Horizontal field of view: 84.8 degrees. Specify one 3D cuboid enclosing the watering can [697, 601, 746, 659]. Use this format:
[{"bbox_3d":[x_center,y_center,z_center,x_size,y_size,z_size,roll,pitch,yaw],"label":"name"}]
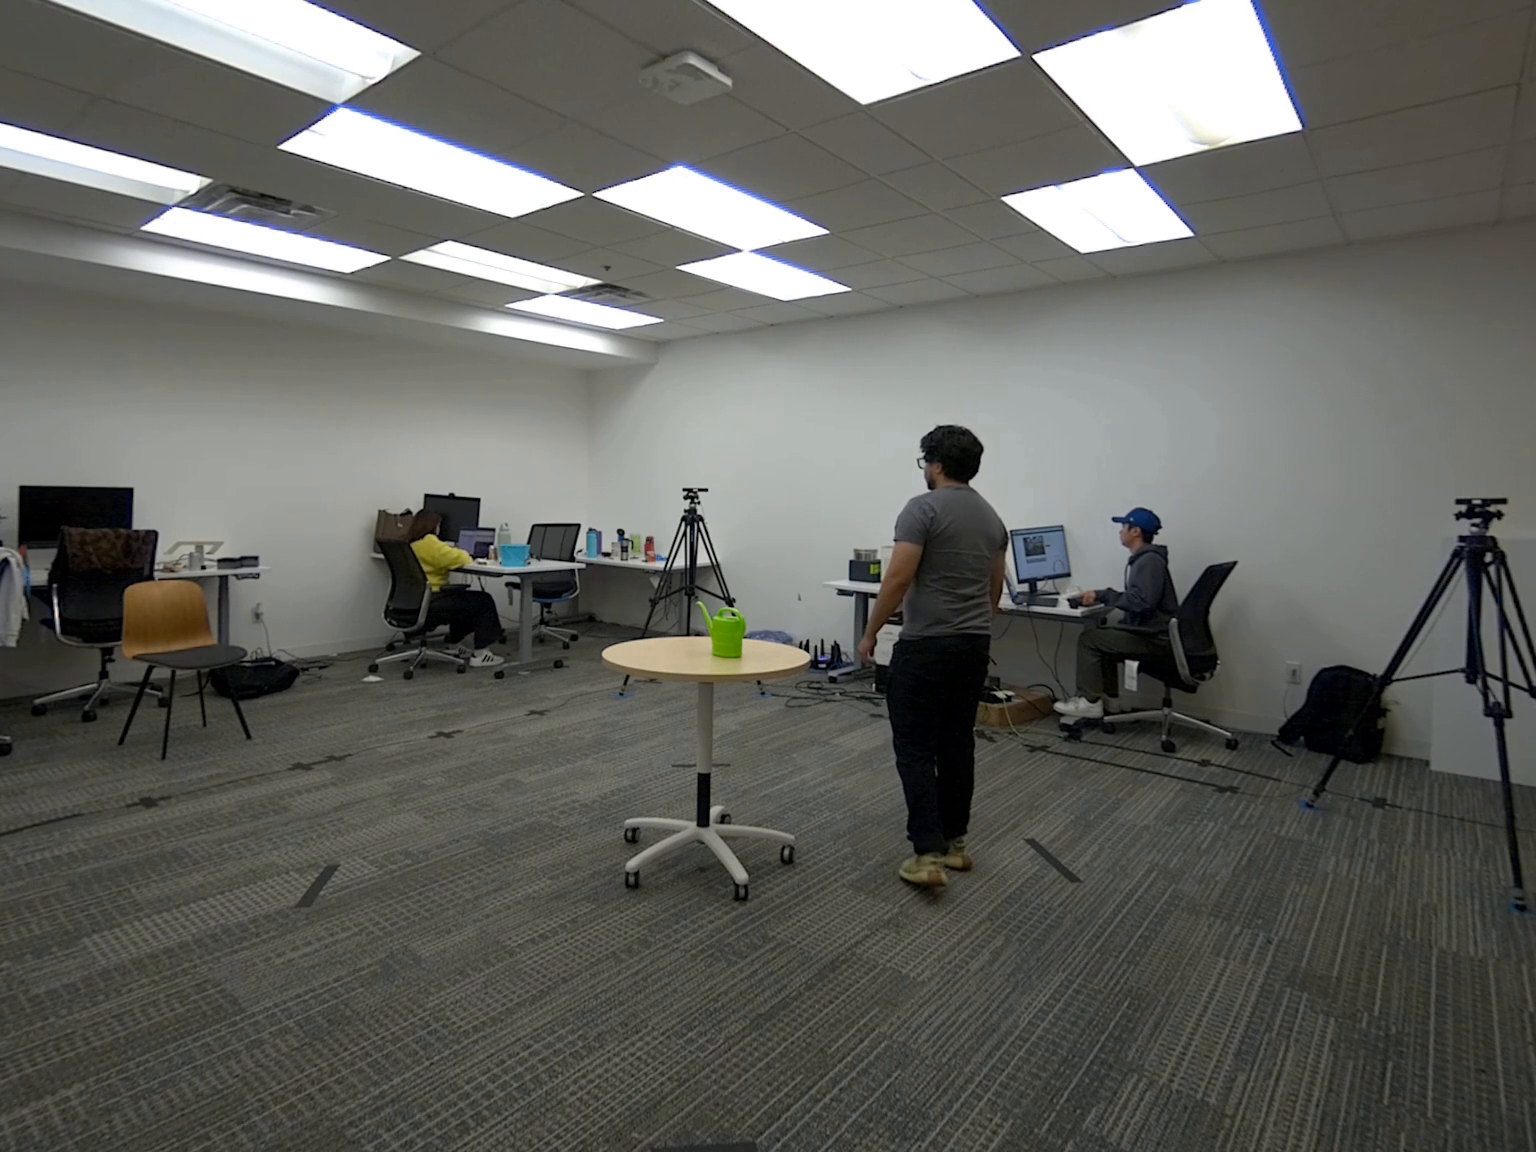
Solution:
[{"bbox_3d":[-0.181,0.195,3.150,0.095,0.176,0.286,1,4,-29],"label":"watering can"}]
